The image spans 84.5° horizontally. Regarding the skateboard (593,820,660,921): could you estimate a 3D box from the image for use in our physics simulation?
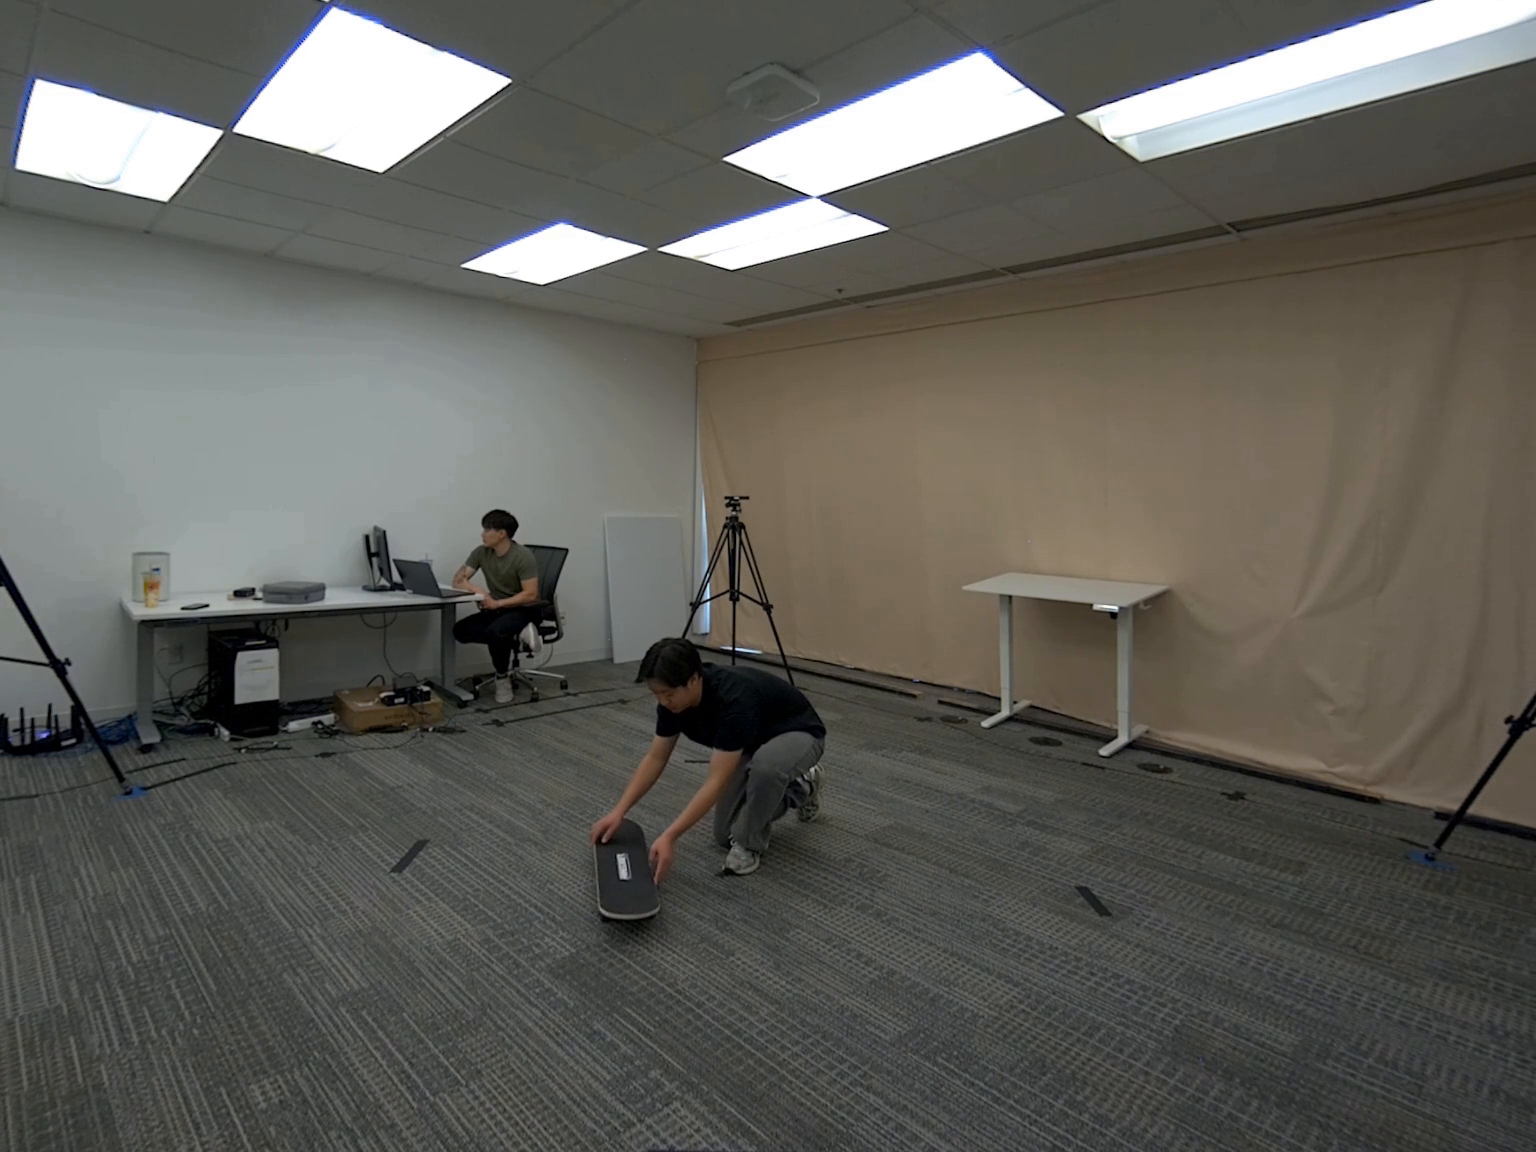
[{"bbox_3d":[-0.508,1.043,2.963,0.191,0.110,0.795,1,5,-13],"label":"skateboard"}]
